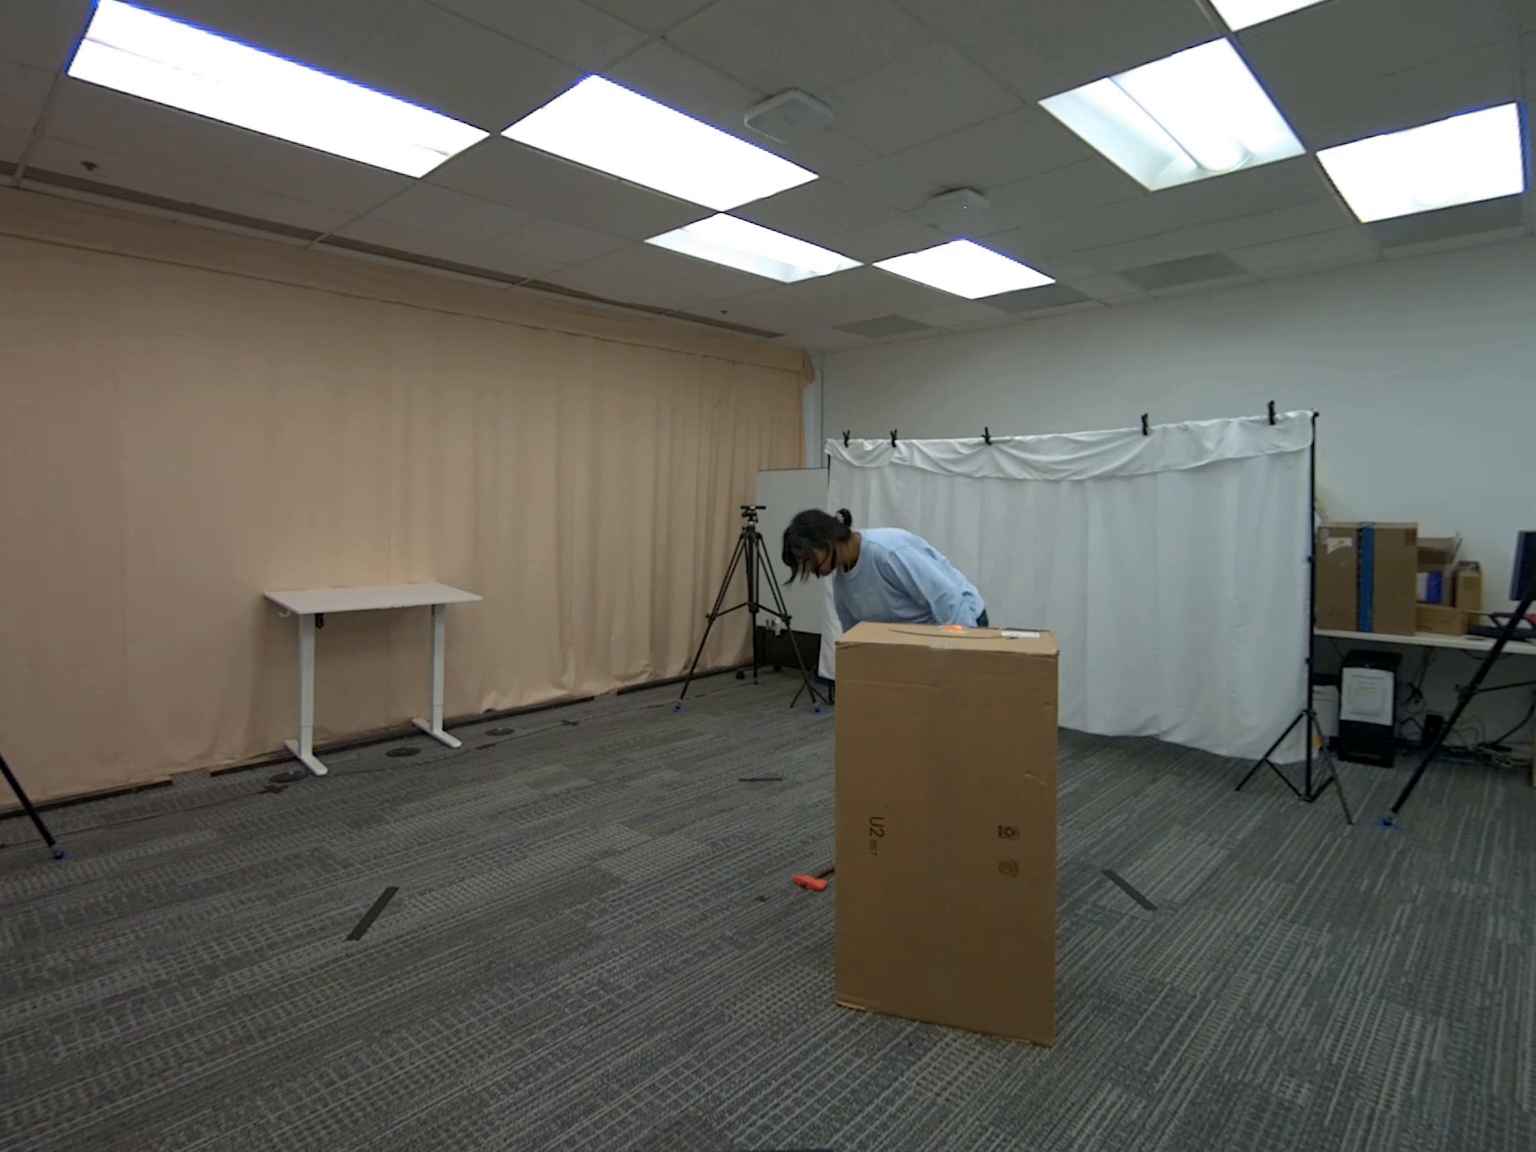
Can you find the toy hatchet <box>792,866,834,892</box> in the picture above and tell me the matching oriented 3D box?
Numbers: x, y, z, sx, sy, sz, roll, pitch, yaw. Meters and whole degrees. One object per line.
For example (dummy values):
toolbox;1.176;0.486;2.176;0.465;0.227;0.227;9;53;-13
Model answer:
toy hatchet;0.230;1.124;3.136;0.262;0.029;0.135;-2;5;-33
